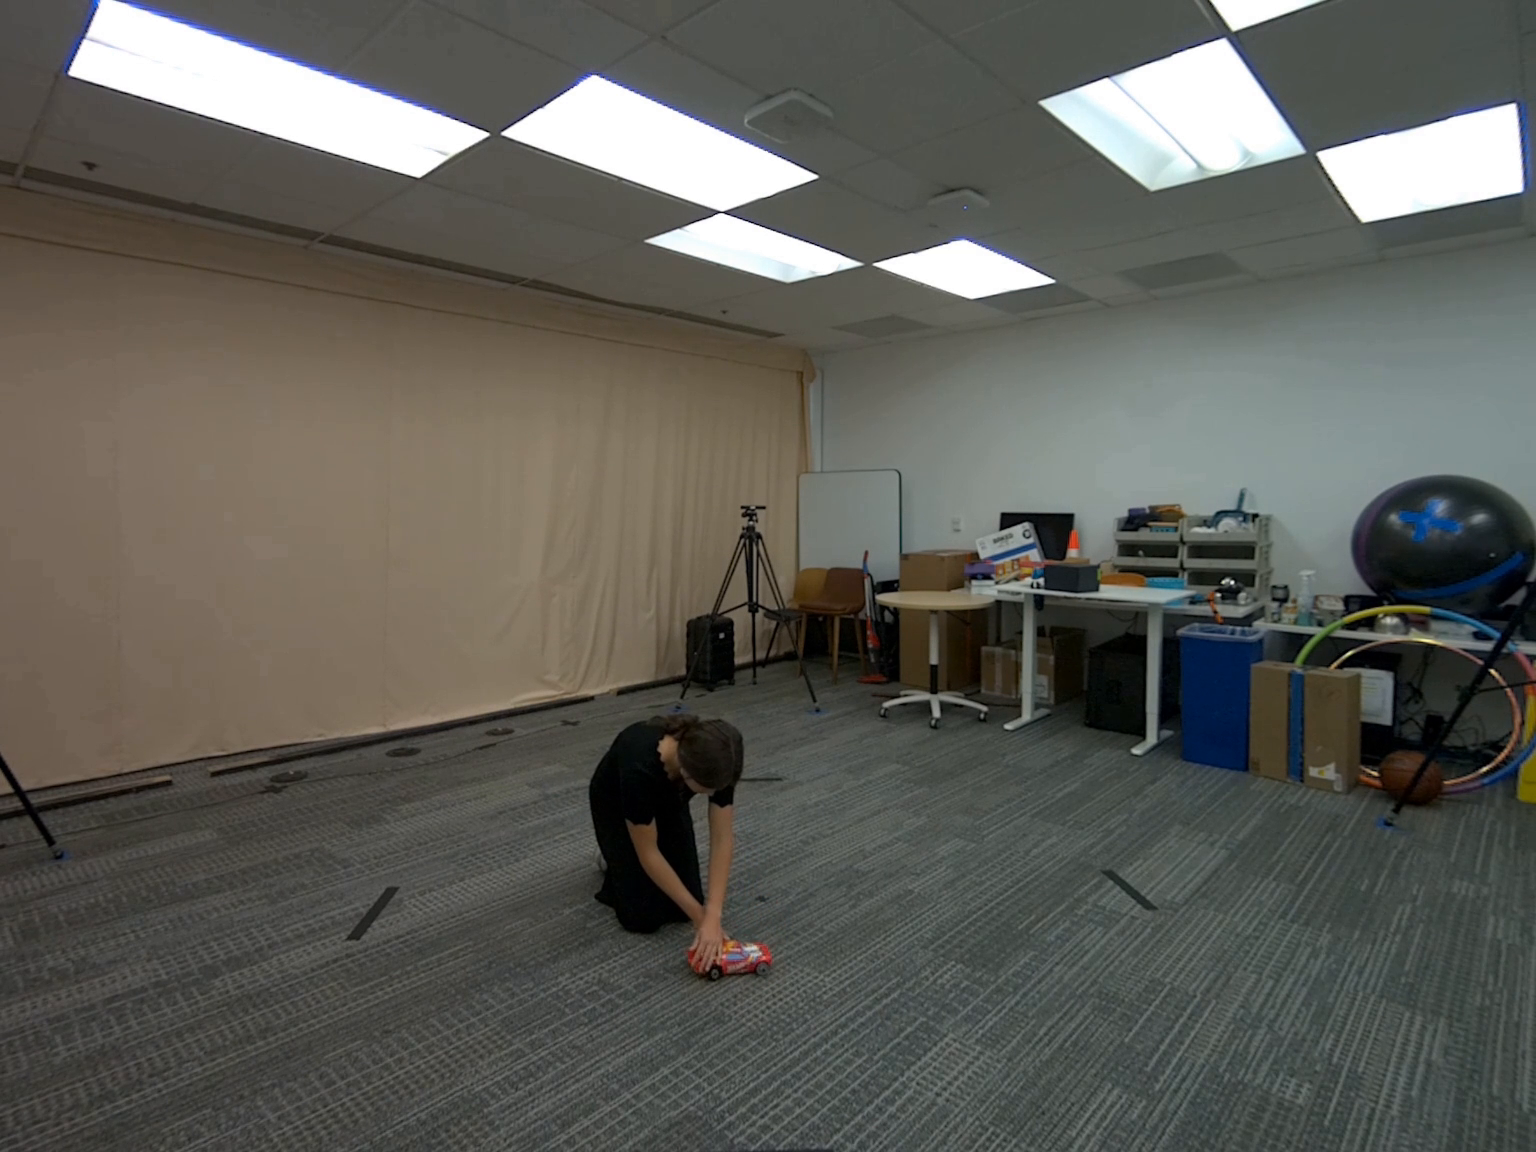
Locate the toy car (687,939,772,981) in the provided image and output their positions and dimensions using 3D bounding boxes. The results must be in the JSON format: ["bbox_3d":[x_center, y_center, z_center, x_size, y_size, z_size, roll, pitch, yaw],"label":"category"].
[{"bbox_3d":[-0.122,1.153,2.528,0.251,0.083,0.132,8,2,-11],"label":"toy car"}]
